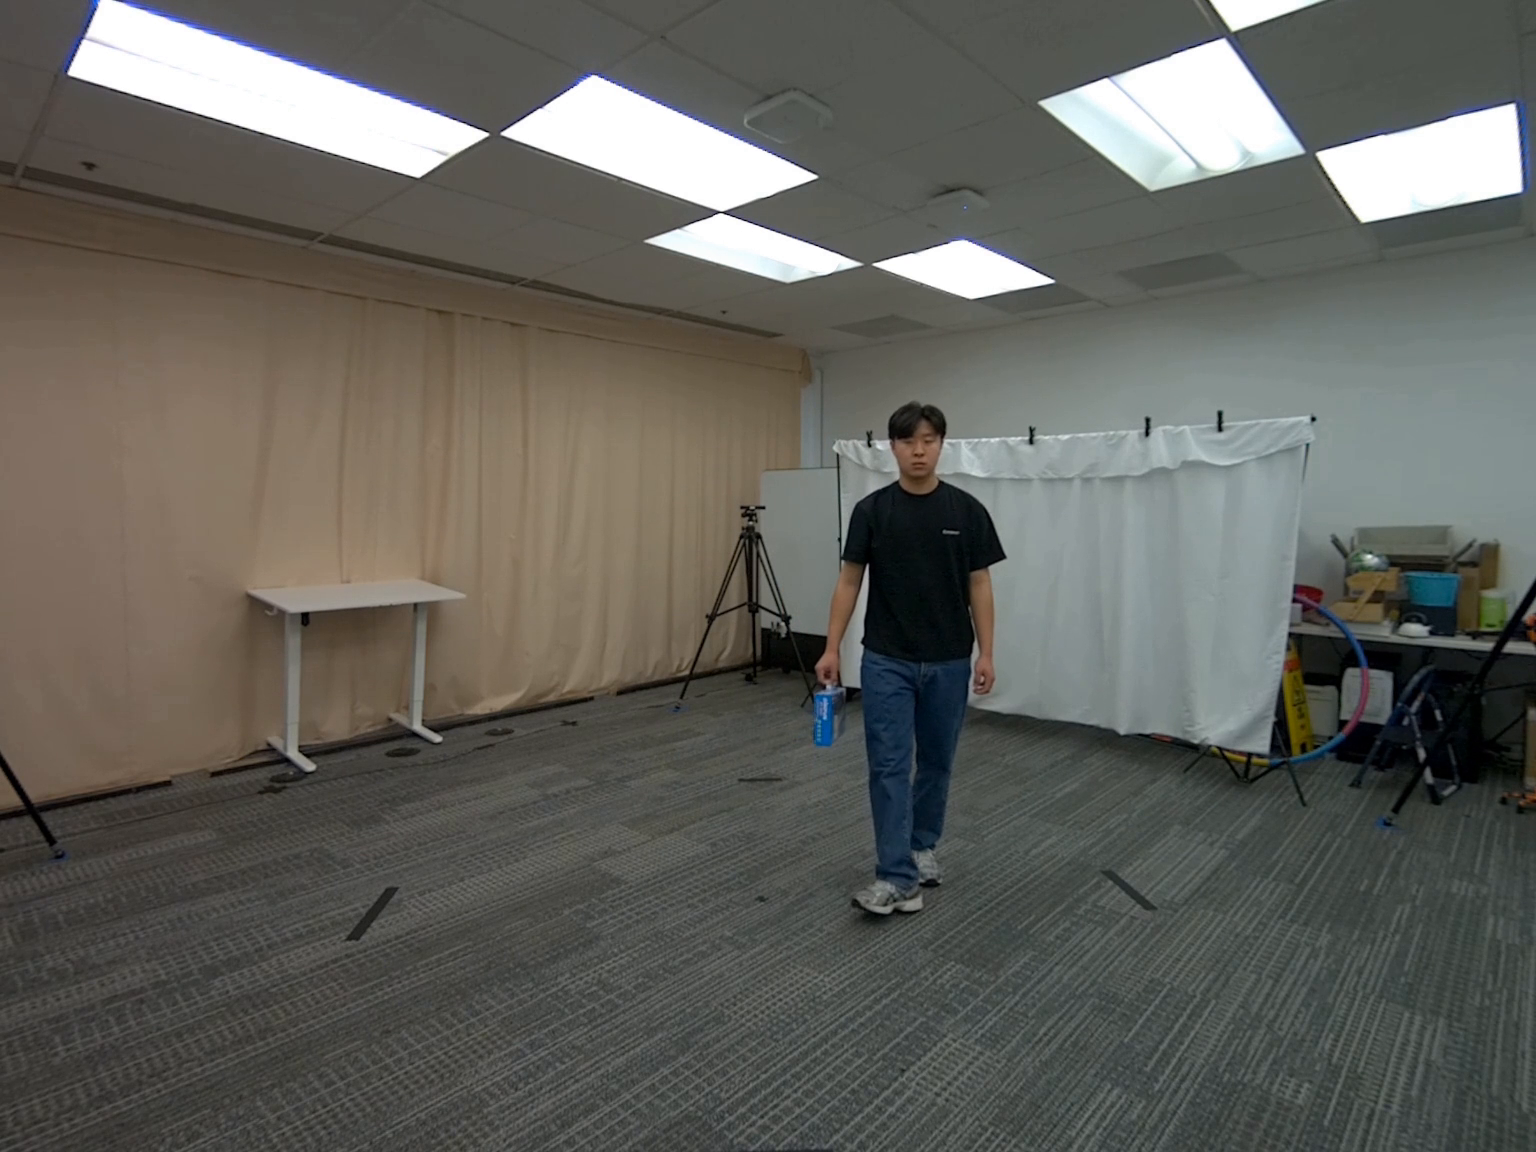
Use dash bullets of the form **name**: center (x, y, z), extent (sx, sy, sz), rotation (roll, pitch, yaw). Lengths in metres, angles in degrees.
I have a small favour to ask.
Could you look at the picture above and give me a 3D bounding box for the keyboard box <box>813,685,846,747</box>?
- **keyboard box**: center (0.232, 0.504, 3.056), extent (0.060, 0.176, 0.429), rotation (-1, -5, 12)
